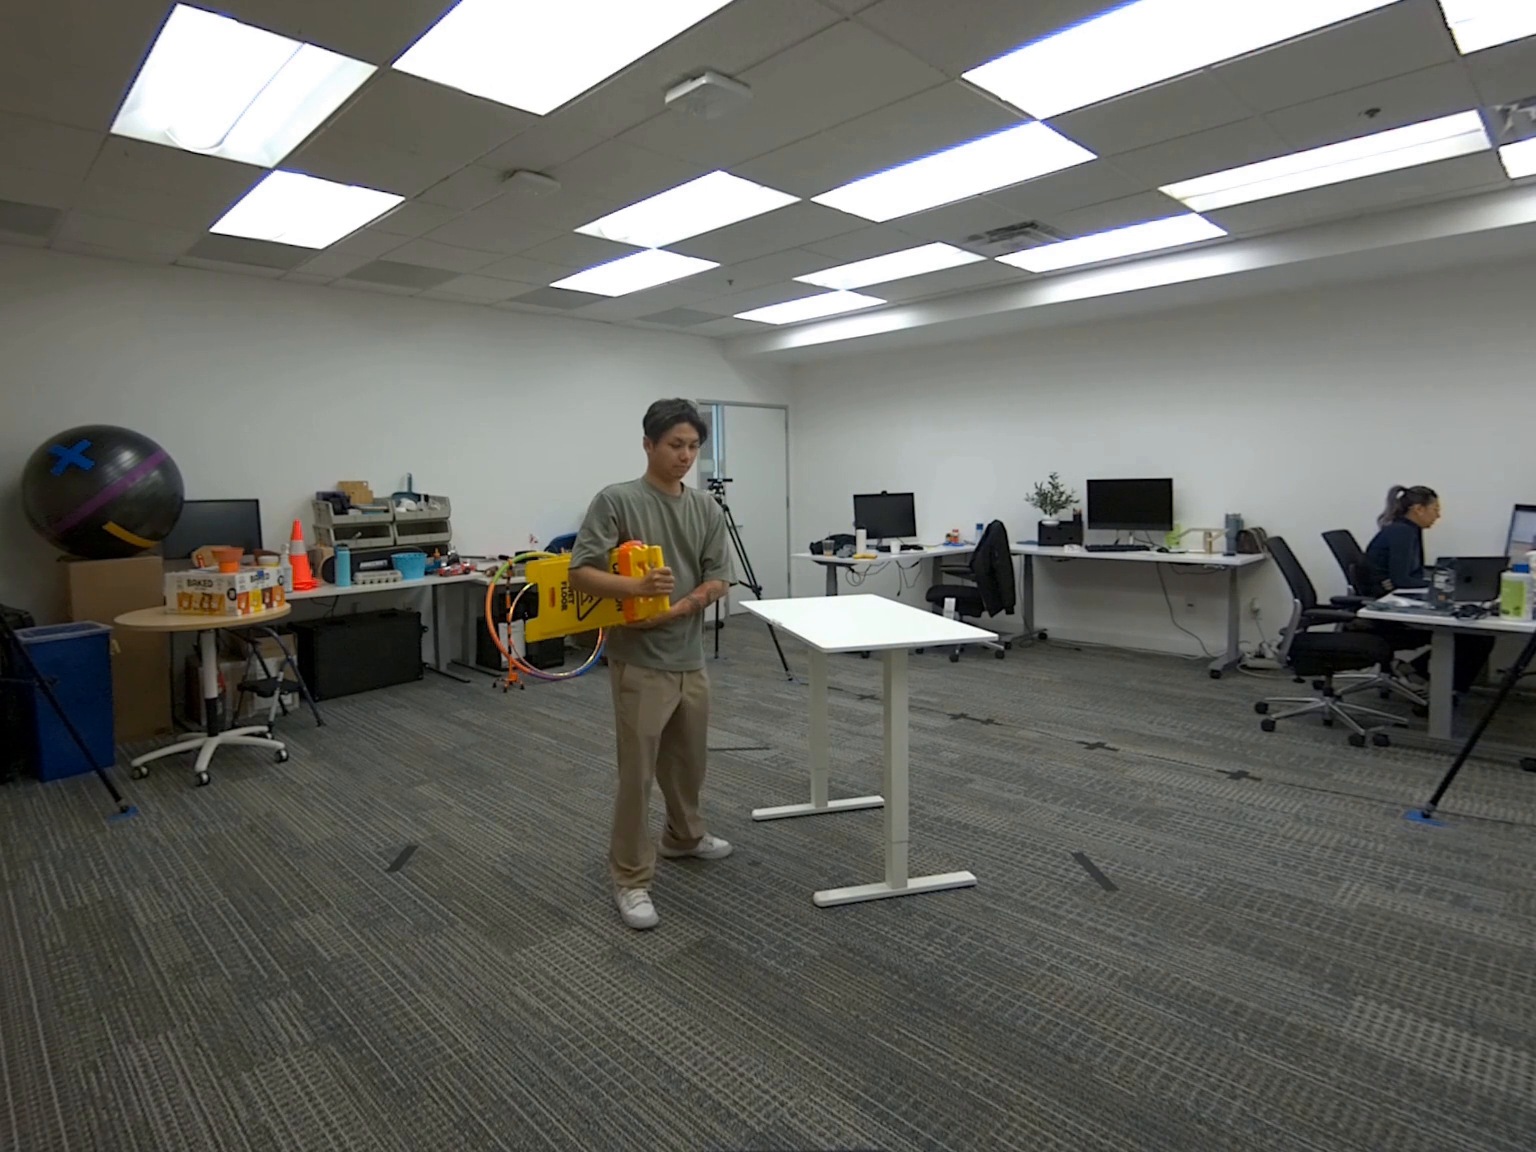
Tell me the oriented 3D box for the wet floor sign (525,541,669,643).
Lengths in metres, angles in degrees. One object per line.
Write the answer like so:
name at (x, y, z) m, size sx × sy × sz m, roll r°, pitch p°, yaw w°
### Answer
wet floor sign at (-0.524, 0.045, 2.791) m, size 0.282 × 0.284 × 0.660 m, roll -2°, pitch -6°, yaw -41°
